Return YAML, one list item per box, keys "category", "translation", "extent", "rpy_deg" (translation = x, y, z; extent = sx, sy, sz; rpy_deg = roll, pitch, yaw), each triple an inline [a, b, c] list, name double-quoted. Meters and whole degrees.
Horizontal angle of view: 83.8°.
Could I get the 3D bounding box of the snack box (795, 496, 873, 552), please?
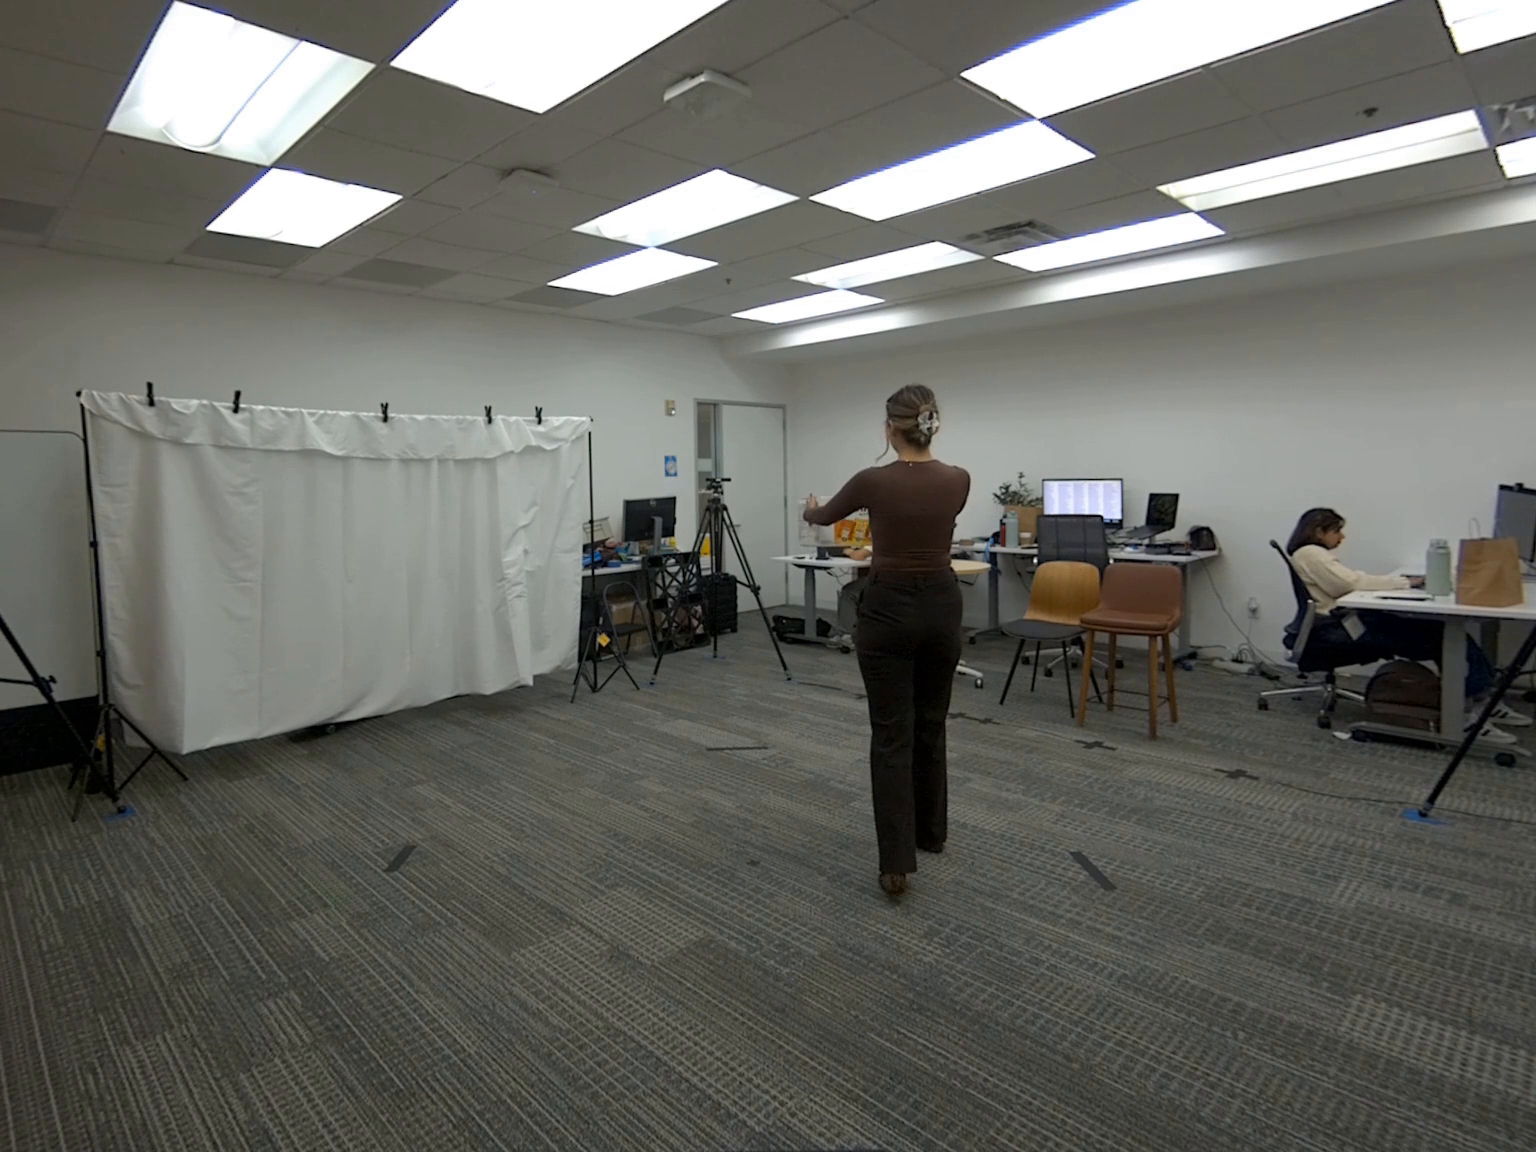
- category: "snack box"
  translation: [0.373, -0.238, 3.640]
  extent: [0.402, 0.205, 0.344]
  rpy_deg: [-2, 3, -8]
